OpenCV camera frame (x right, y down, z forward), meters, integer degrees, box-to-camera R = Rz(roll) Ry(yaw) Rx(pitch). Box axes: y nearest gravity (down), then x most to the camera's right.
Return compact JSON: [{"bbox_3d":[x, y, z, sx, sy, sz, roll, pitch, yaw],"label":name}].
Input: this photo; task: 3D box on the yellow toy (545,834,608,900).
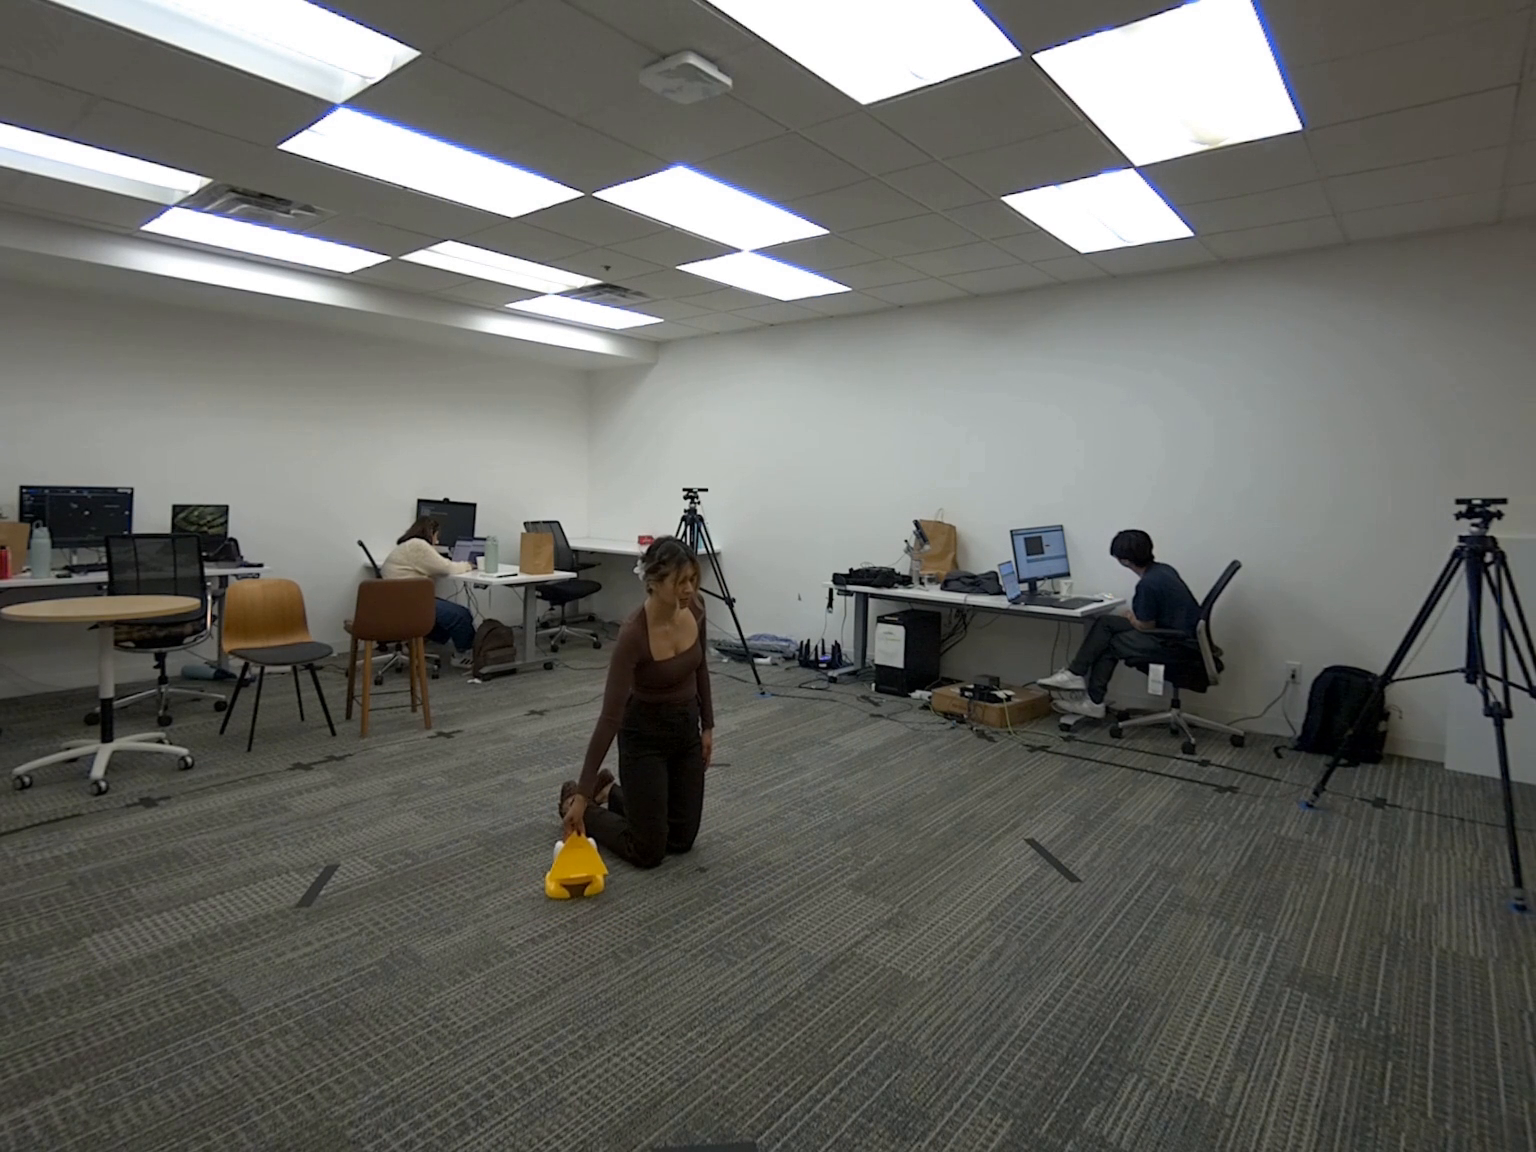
[{"bbox_3d":[-0.676,0.965,2.936,0.201,0.230,0.197,-1,6,-18],"label":"yellow toy"}]
